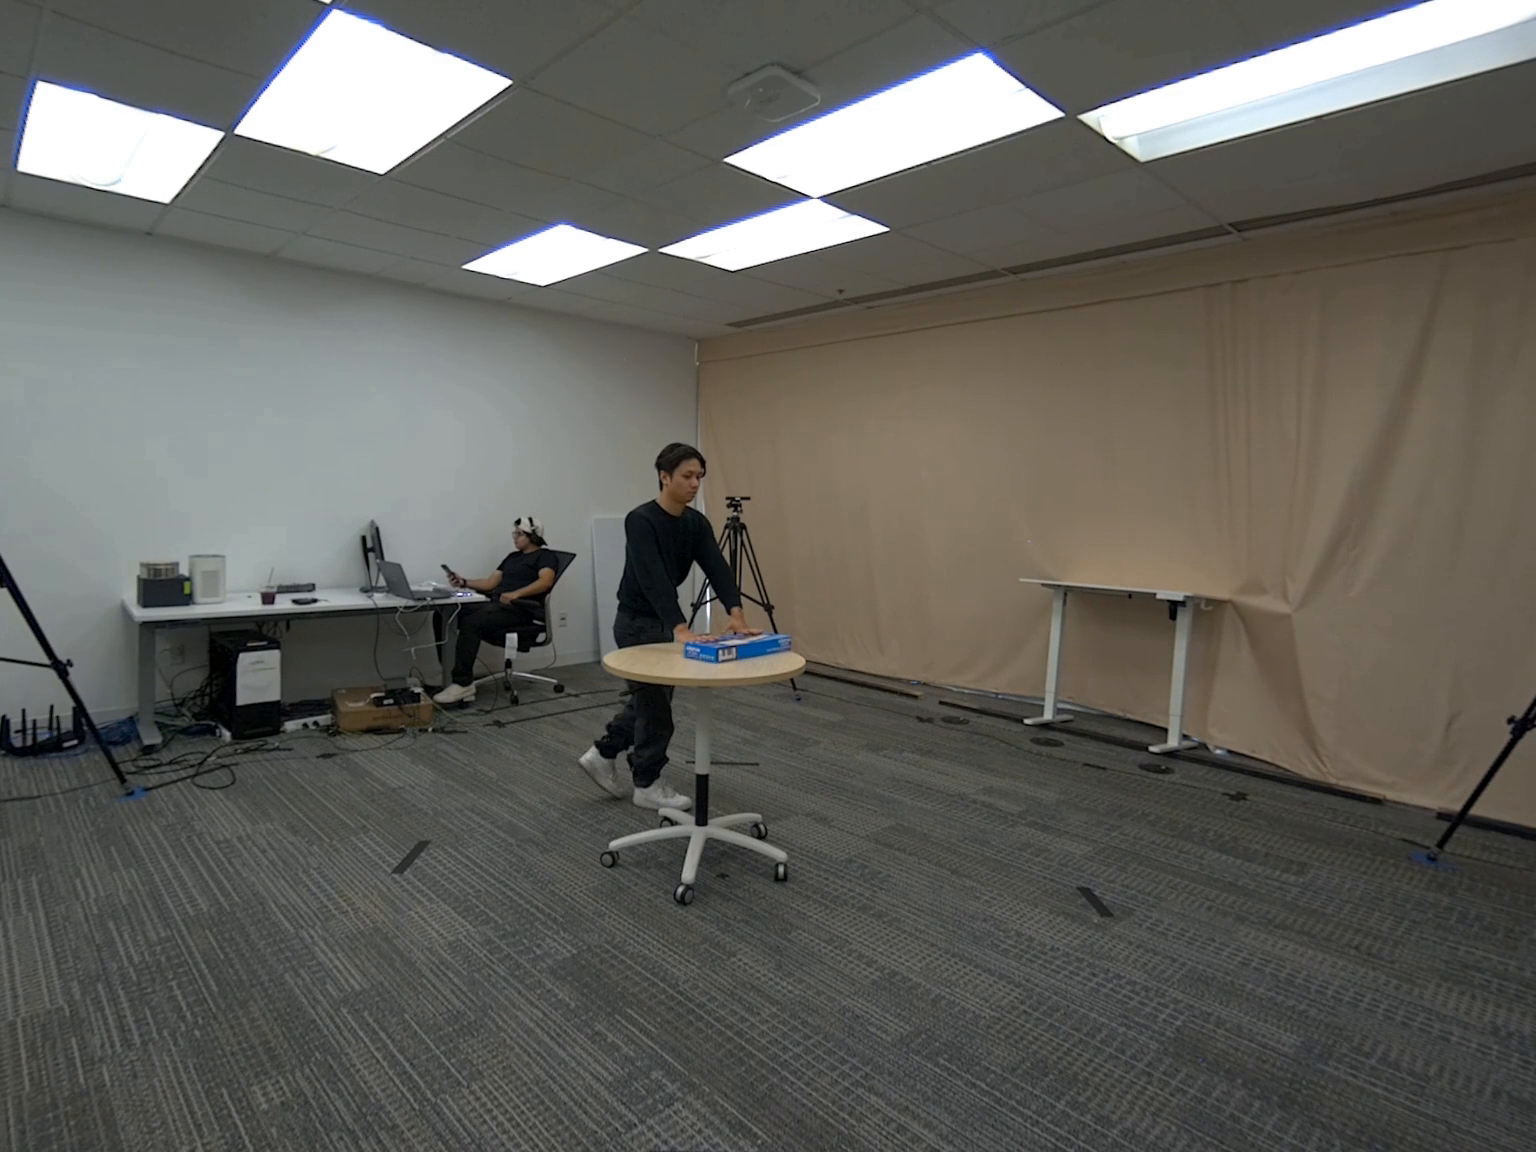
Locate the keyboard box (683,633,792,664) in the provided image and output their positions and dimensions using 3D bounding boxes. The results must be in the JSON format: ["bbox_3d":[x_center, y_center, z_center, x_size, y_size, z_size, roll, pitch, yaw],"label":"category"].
[{"bbox_3d":[-0.124,0.280,3.311,0.180,0.059,0.427,3,6,41],"label":"keyboard box"}]
